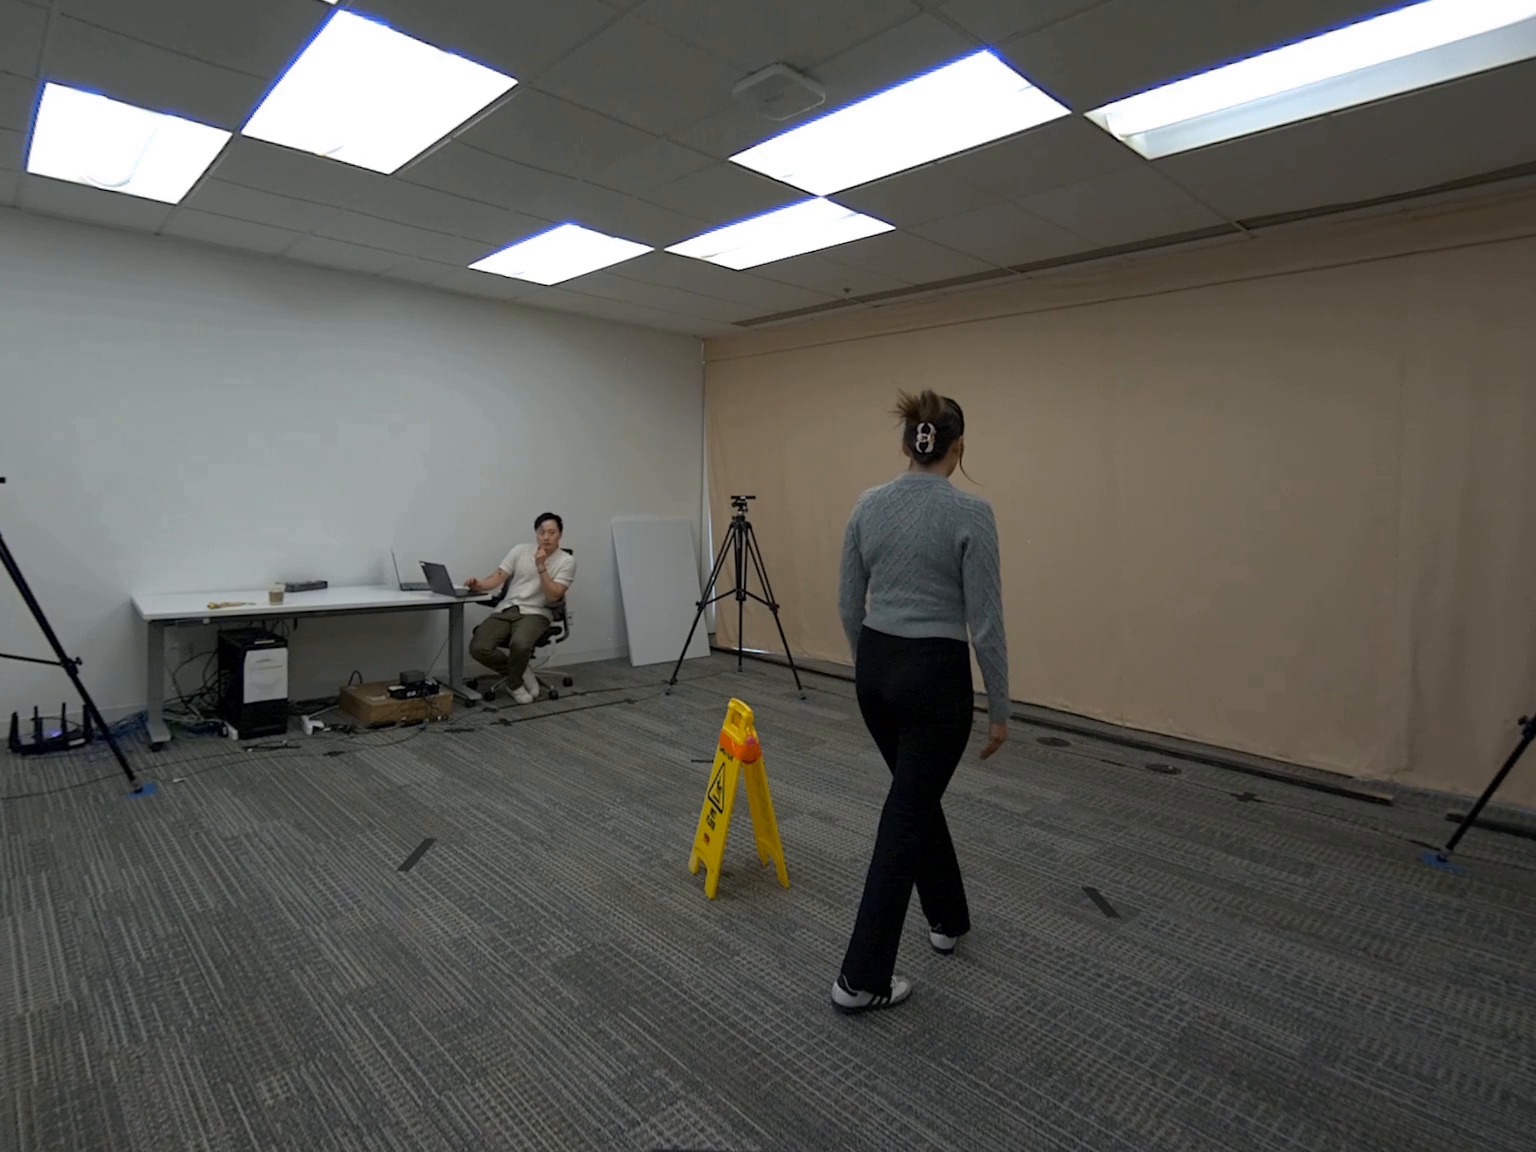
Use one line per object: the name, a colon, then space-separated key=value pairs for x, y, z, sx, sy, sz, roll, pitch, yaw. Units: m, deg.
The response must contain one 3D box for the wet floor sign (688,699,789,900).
wet floor sign: x=-0.114 y=0.782 z=3.059 sx=0.285 sy=0.645 sz=0.287 roll=-1 pitch=3 yaw=-21
